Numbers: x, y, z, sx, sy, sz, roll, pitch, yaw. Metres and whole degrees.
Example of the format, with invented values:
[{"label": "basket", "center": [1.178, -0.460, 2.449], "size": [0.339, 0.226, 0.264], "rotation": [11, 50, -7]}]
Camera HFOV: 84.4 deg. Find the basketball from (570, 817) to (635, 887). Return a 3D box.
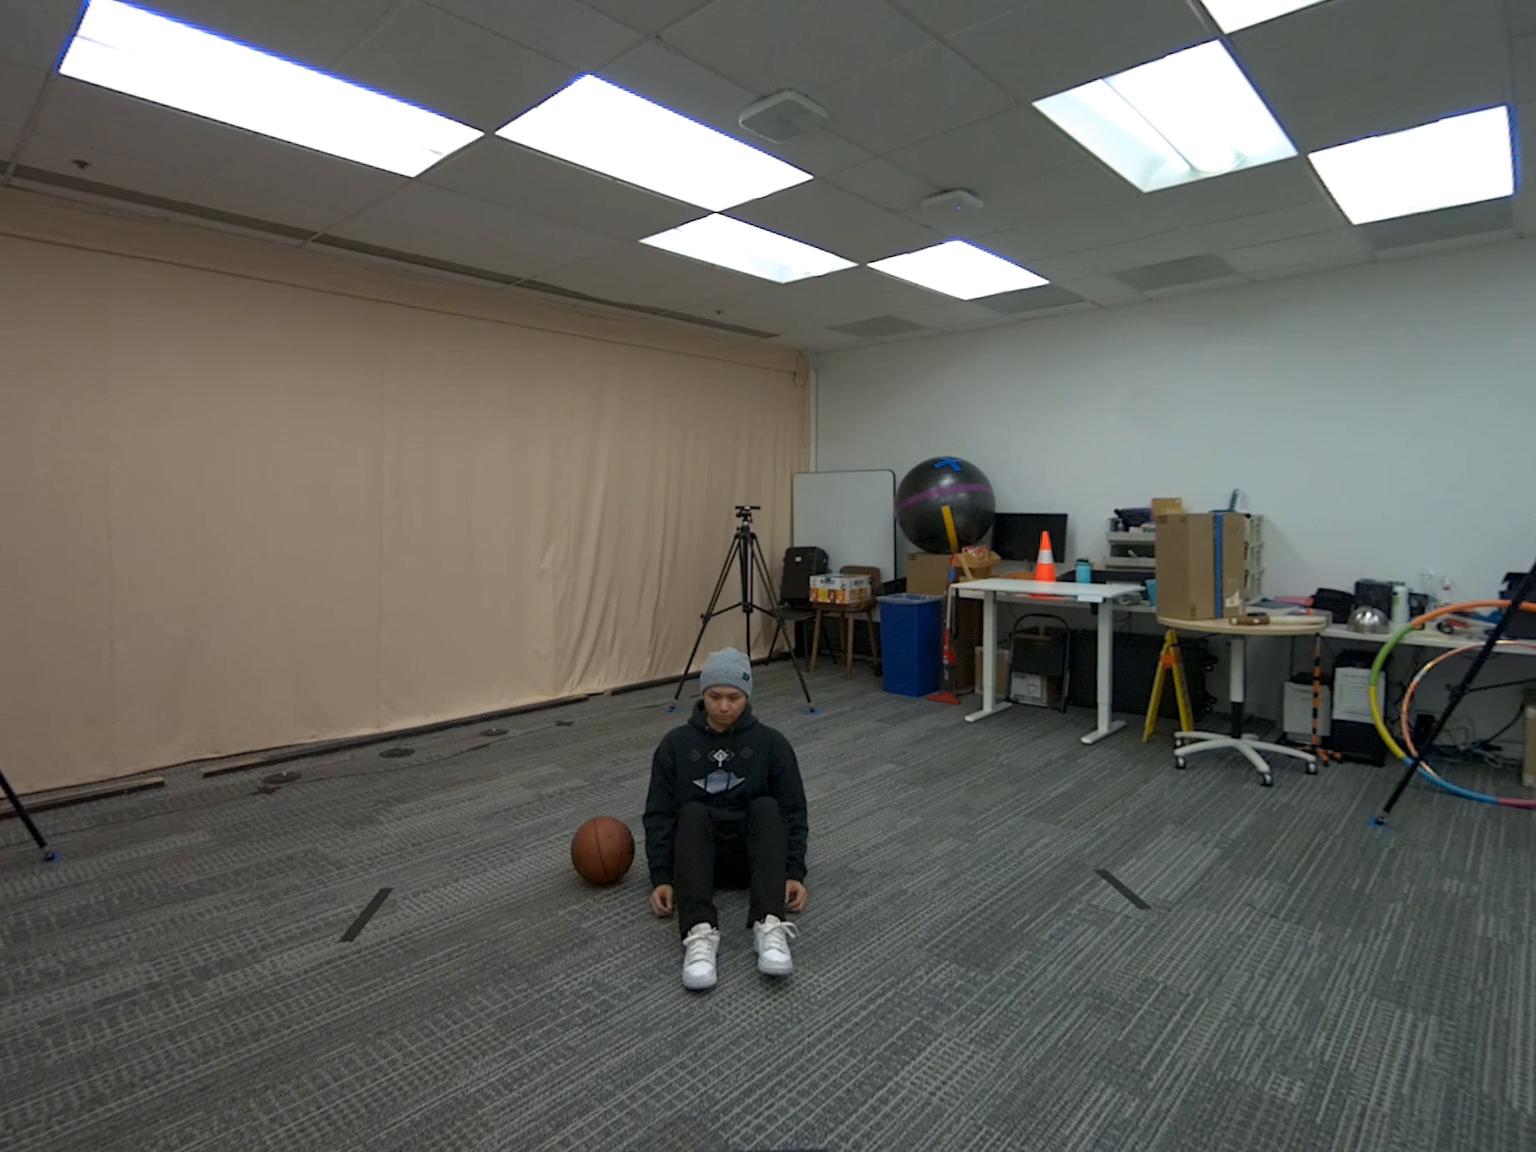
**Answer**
[{"label": "basketball", "center": [-0.612, 1.019, 3.135], "size": [0.236, 0.235, 0.237], "rotation": [0, 4, -2]}]
